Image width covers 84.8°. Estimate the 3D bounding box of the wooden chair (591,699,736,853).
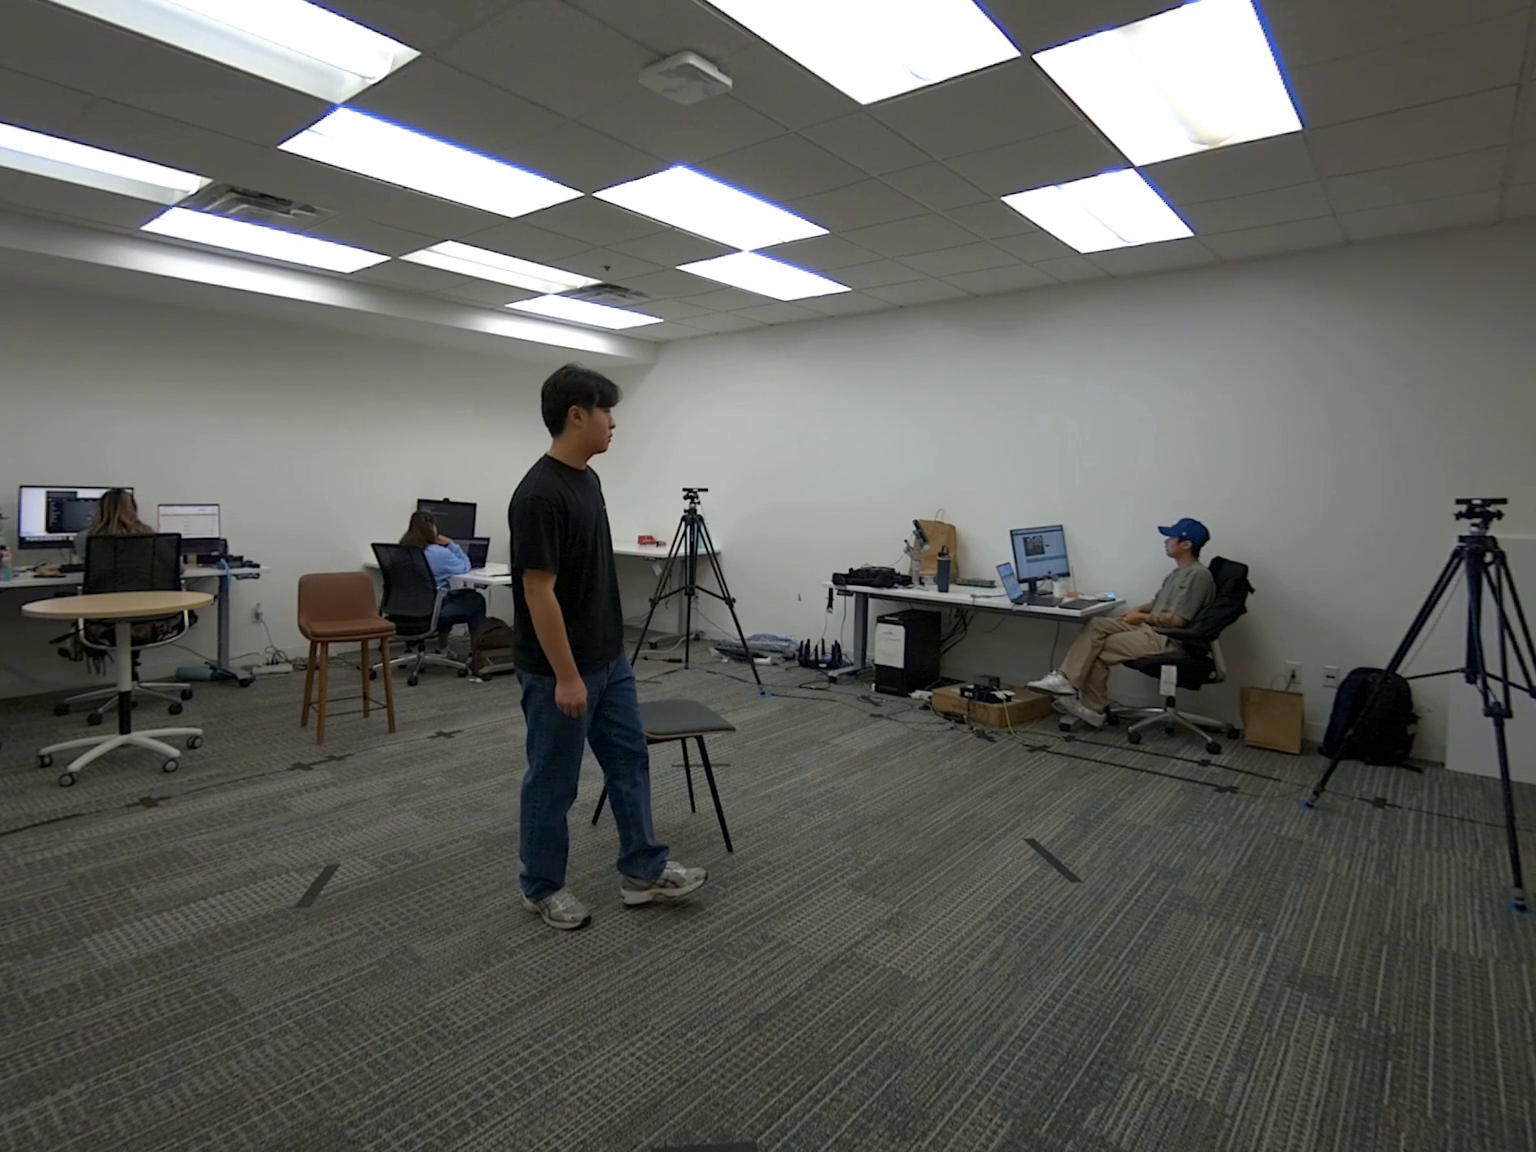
[{"bbox_3d":[-0.430,0.616,3.368,0.513,0.874,0.490,-5,4,-22],"label":"wooden chair"}]
